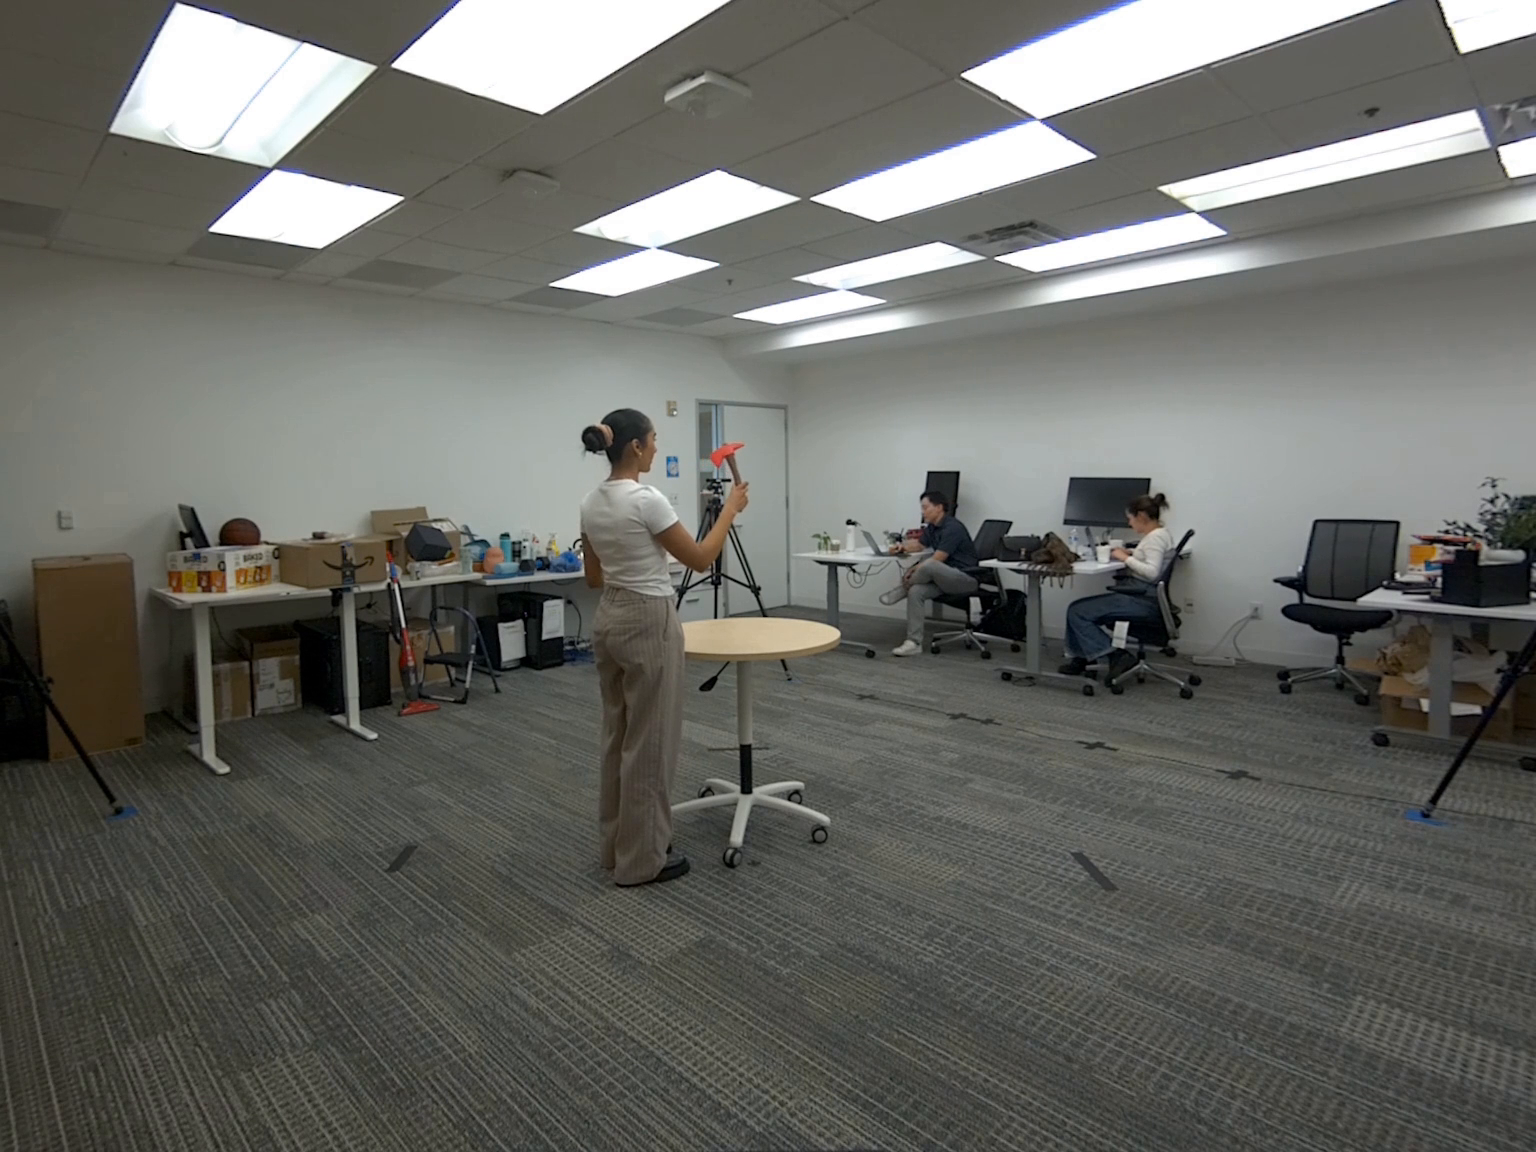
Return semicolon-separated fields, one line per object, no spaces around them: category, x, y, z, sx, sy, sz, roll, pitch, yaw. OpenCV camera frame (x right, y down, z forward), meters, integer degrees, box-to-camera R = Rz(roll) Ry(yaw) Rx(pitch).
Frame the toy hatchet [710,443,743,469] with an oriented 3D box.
toy hatchet;-0.152;-0.366;3.151;0.132;0.273;0.029;1;-15;6
